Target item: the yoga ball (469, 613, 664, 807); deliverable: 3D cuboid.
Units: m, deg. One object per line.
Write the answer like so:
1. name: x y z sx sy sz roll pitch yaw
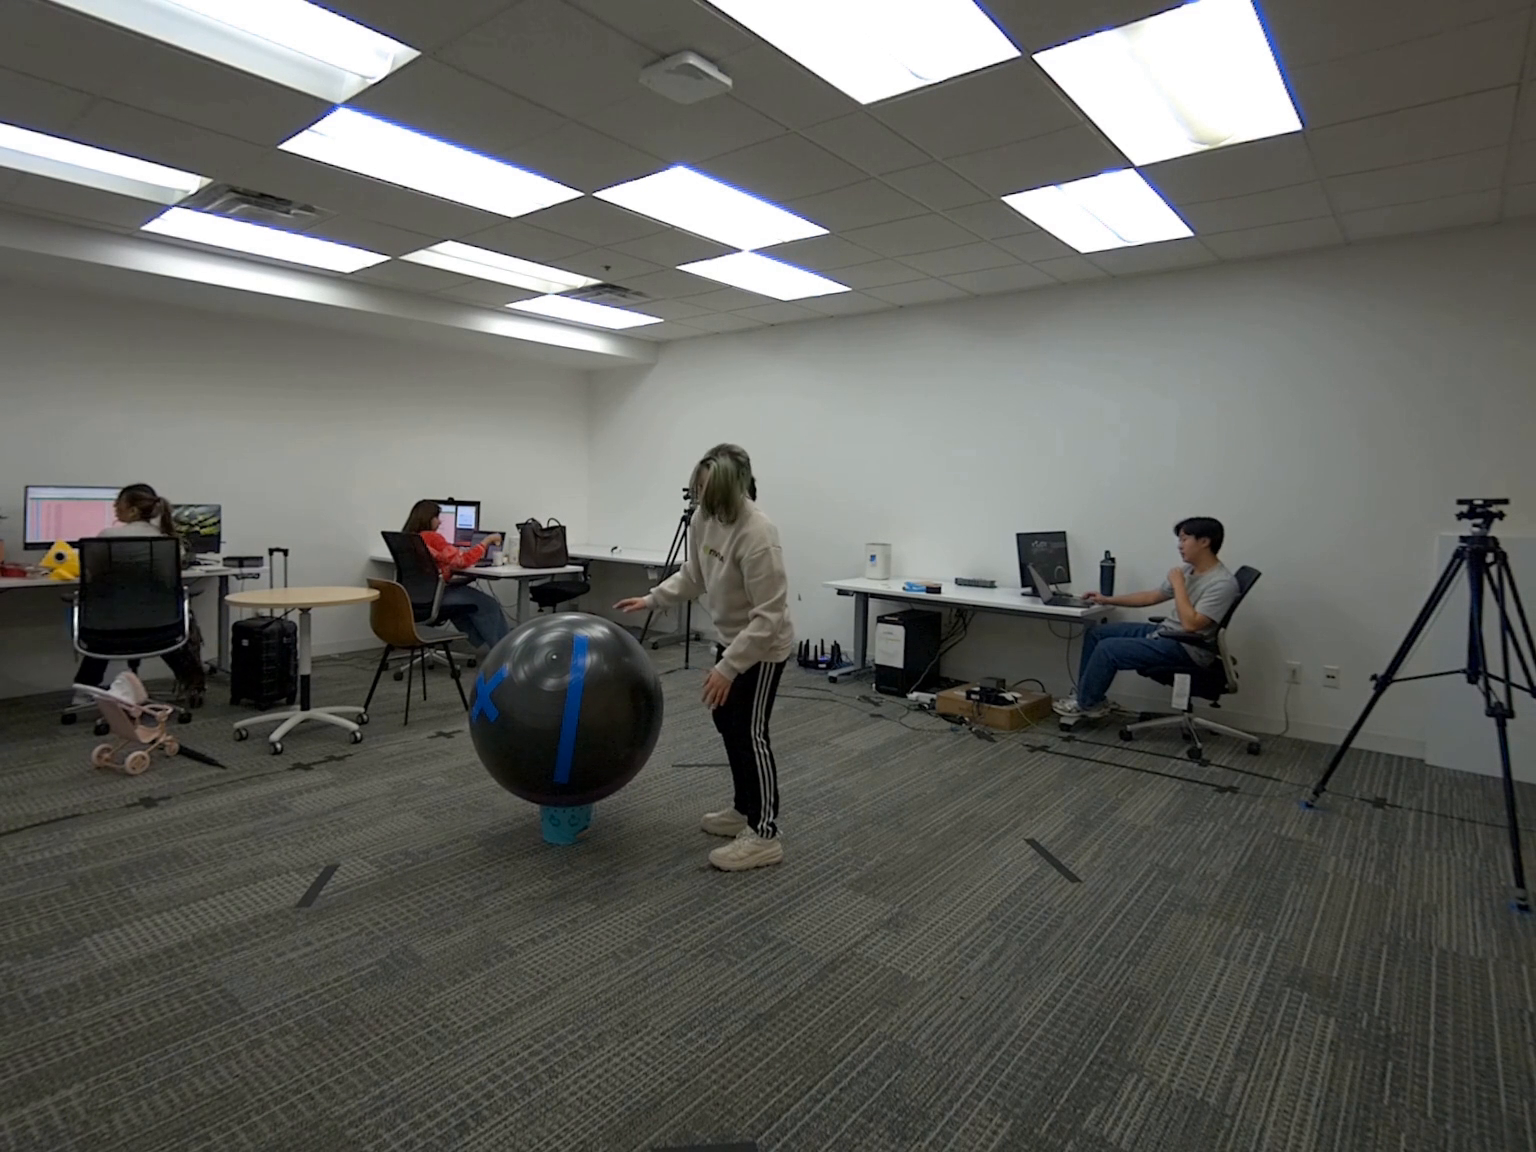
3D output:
1. yoga ball: -0.819 0.524 3.376 0.757 0.755 0.762 1 4 -2
